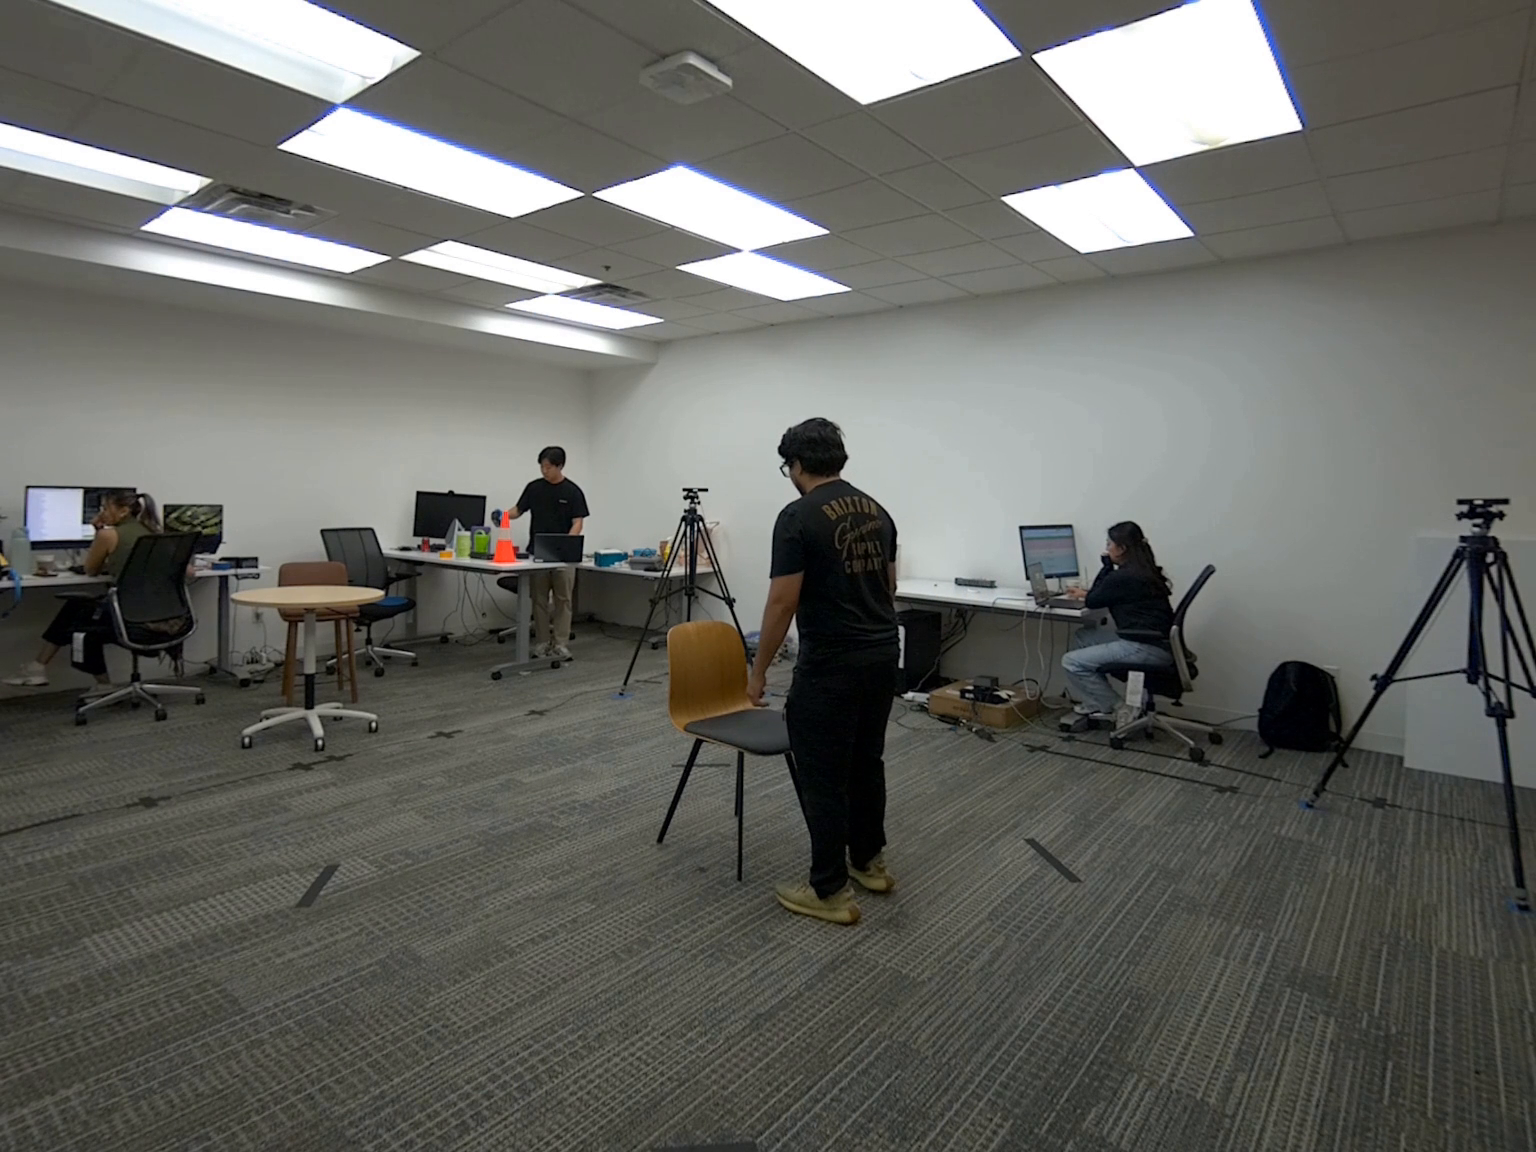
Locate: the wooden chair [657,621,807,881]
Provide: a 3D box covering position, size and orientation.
[{"bbox_3d":[-0.114,0.626,3.300,0.539,0.878,0.463,-2,0,44],"label":"wooden chair"}]
